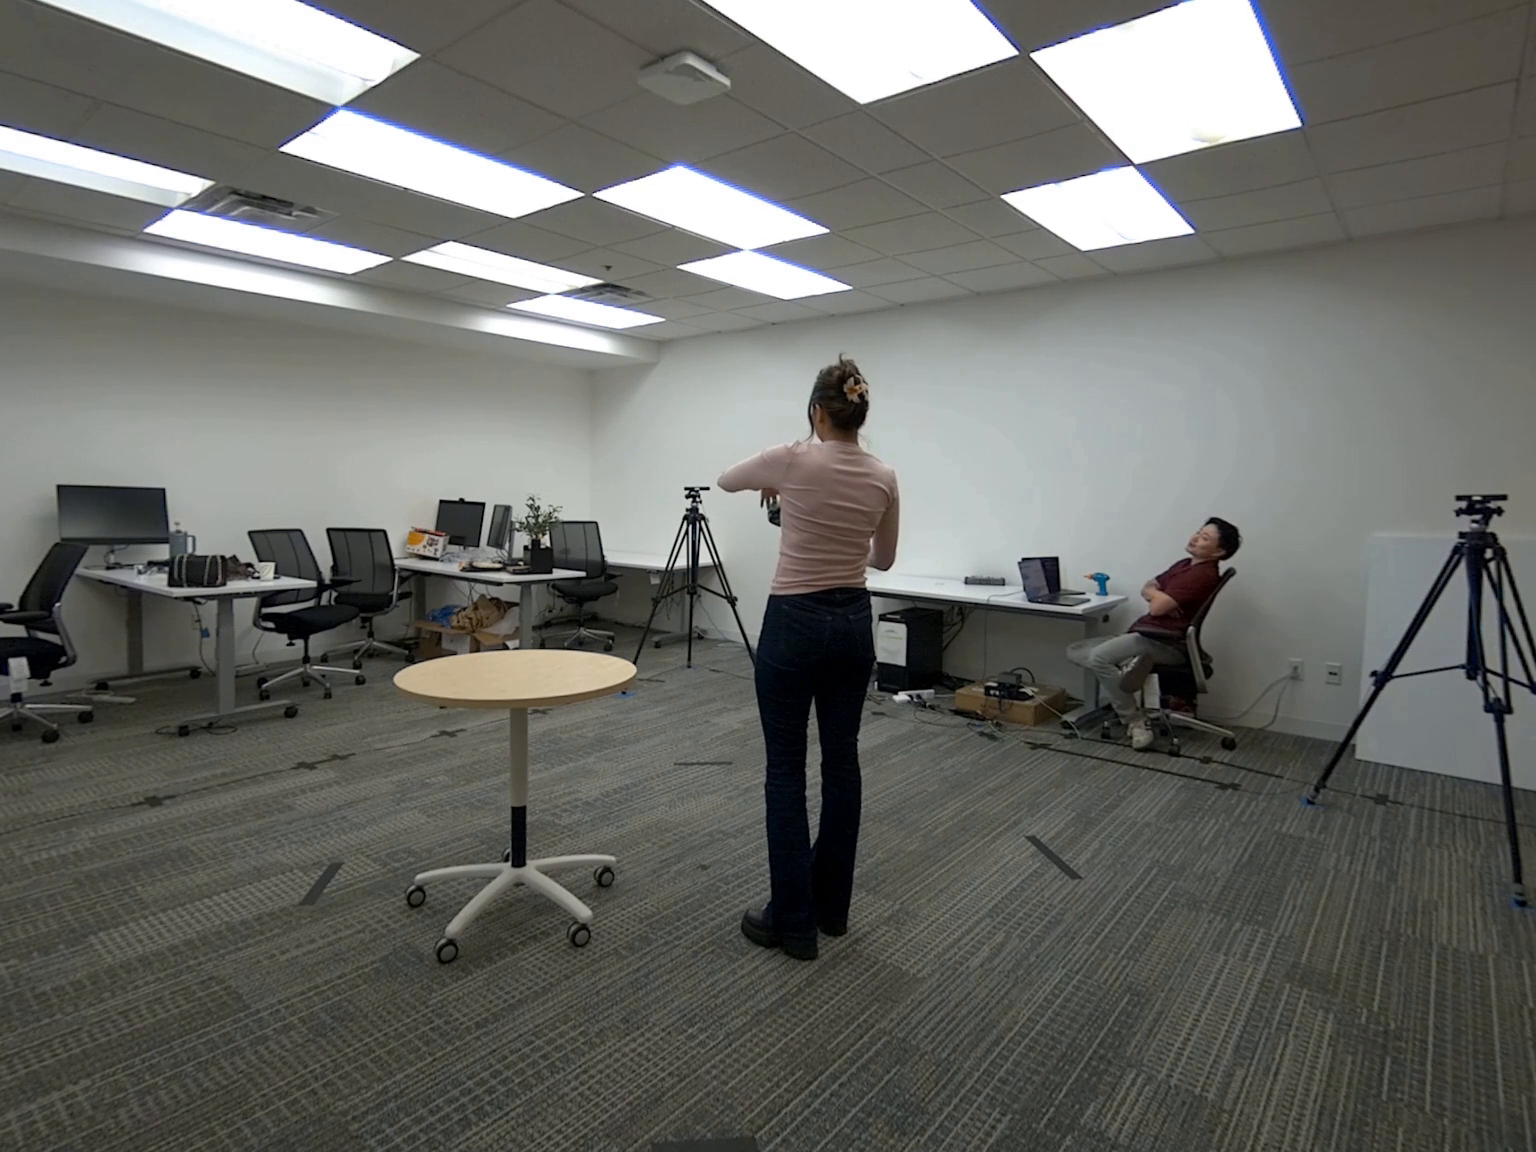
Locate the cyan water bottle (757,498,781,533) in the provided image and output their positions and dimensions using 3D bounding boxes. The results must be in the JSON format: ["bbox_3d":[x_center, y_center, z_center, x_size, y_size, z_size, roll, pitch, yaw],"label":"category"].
[{"bbox_3d":[0.112,-0.187,3.096,0.274,0.093,0.095,25,-8,-26],"label":"cyan water bottle"}]
